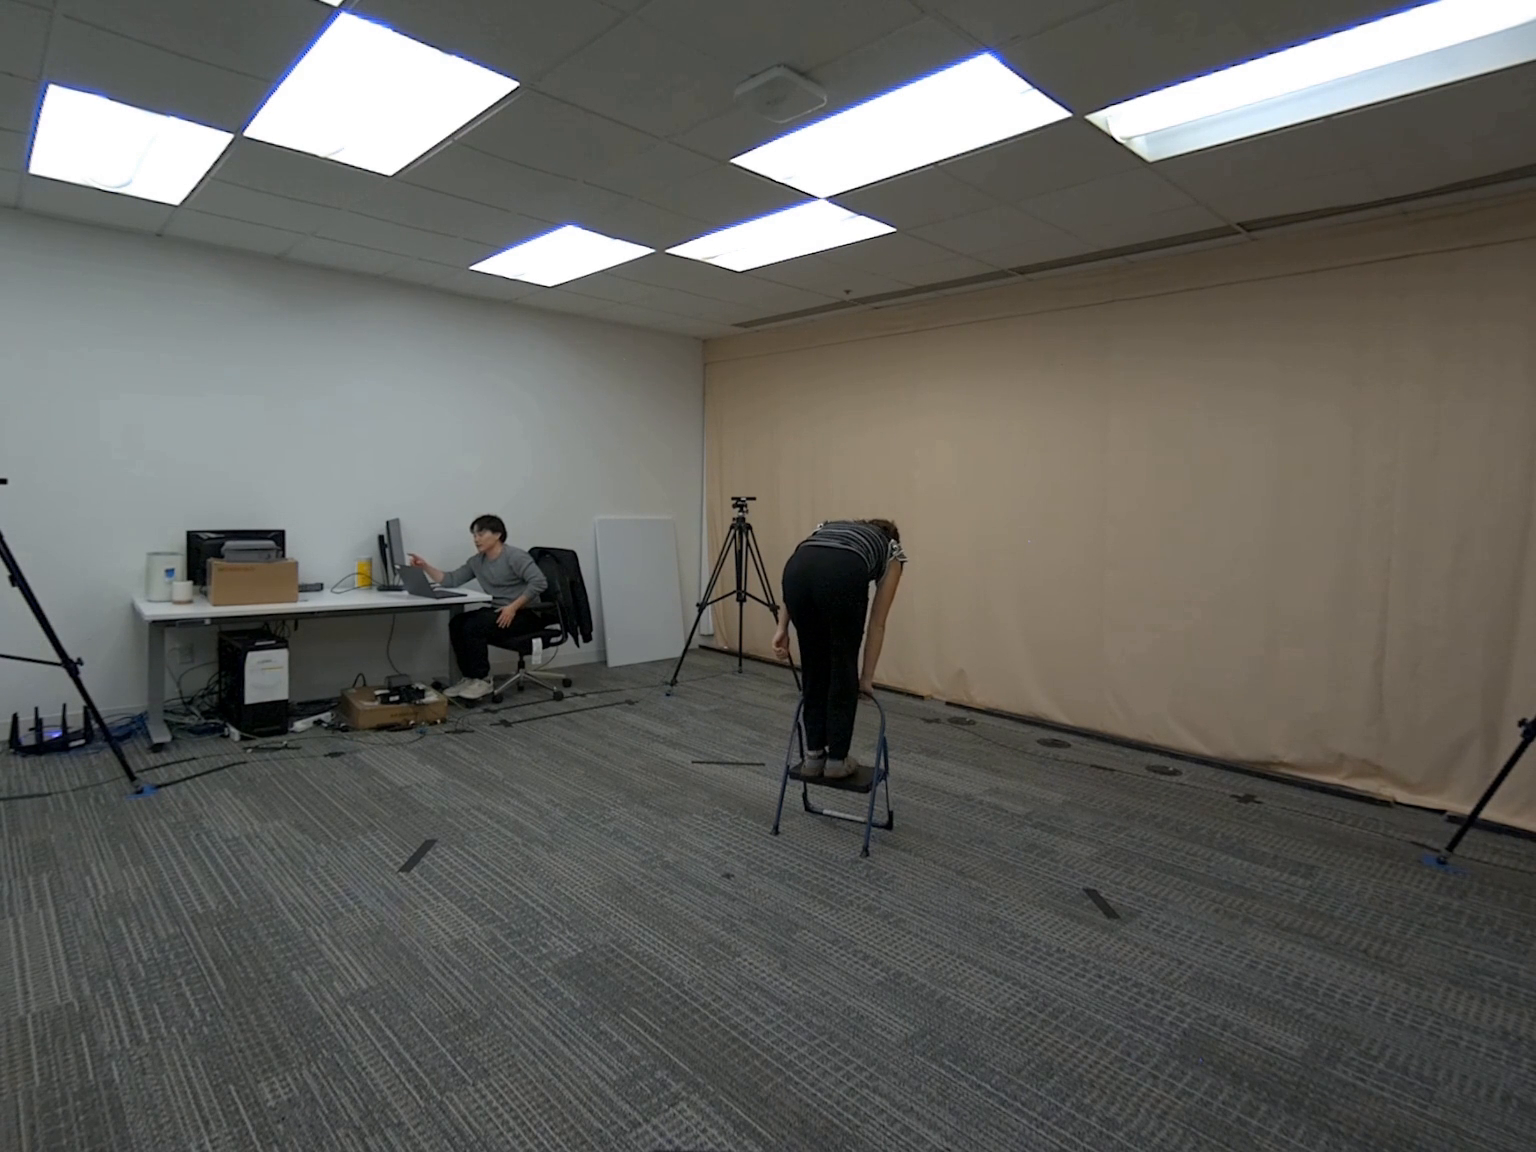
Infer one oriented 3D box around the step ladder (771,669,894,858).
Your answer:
[{"bbox_3d":[0.279,0.779,3.540,0.440,0.605,0.342,3,3,28],"label":"step ladder"}]
